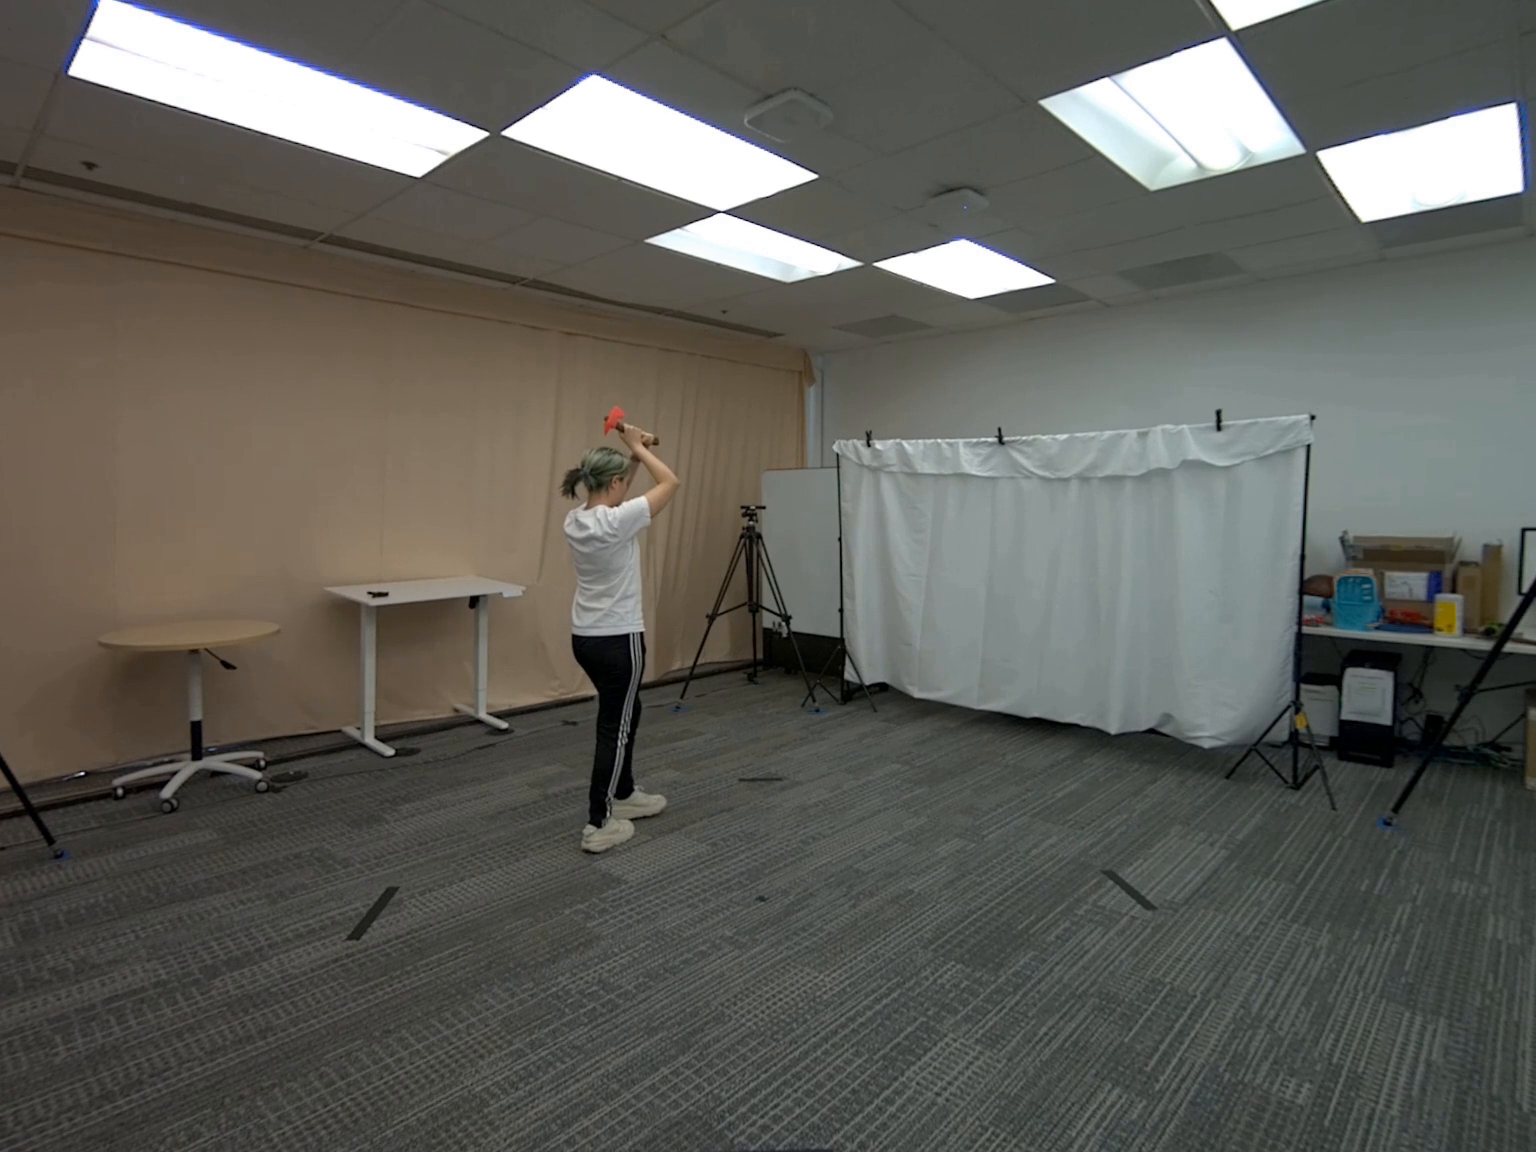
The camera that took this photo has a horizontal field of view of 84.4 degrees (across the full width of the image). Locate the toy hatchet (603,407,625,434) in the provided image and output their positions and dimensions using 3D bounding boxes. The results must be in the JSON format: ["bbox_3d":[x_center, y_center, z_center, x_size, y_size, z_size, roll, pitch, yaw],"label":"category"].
[{"bbox_3d":[-0.575,-0.641,3.580,0.261,0.131,0.030,6,-4,-36],"label":"toy hatchet"}]
